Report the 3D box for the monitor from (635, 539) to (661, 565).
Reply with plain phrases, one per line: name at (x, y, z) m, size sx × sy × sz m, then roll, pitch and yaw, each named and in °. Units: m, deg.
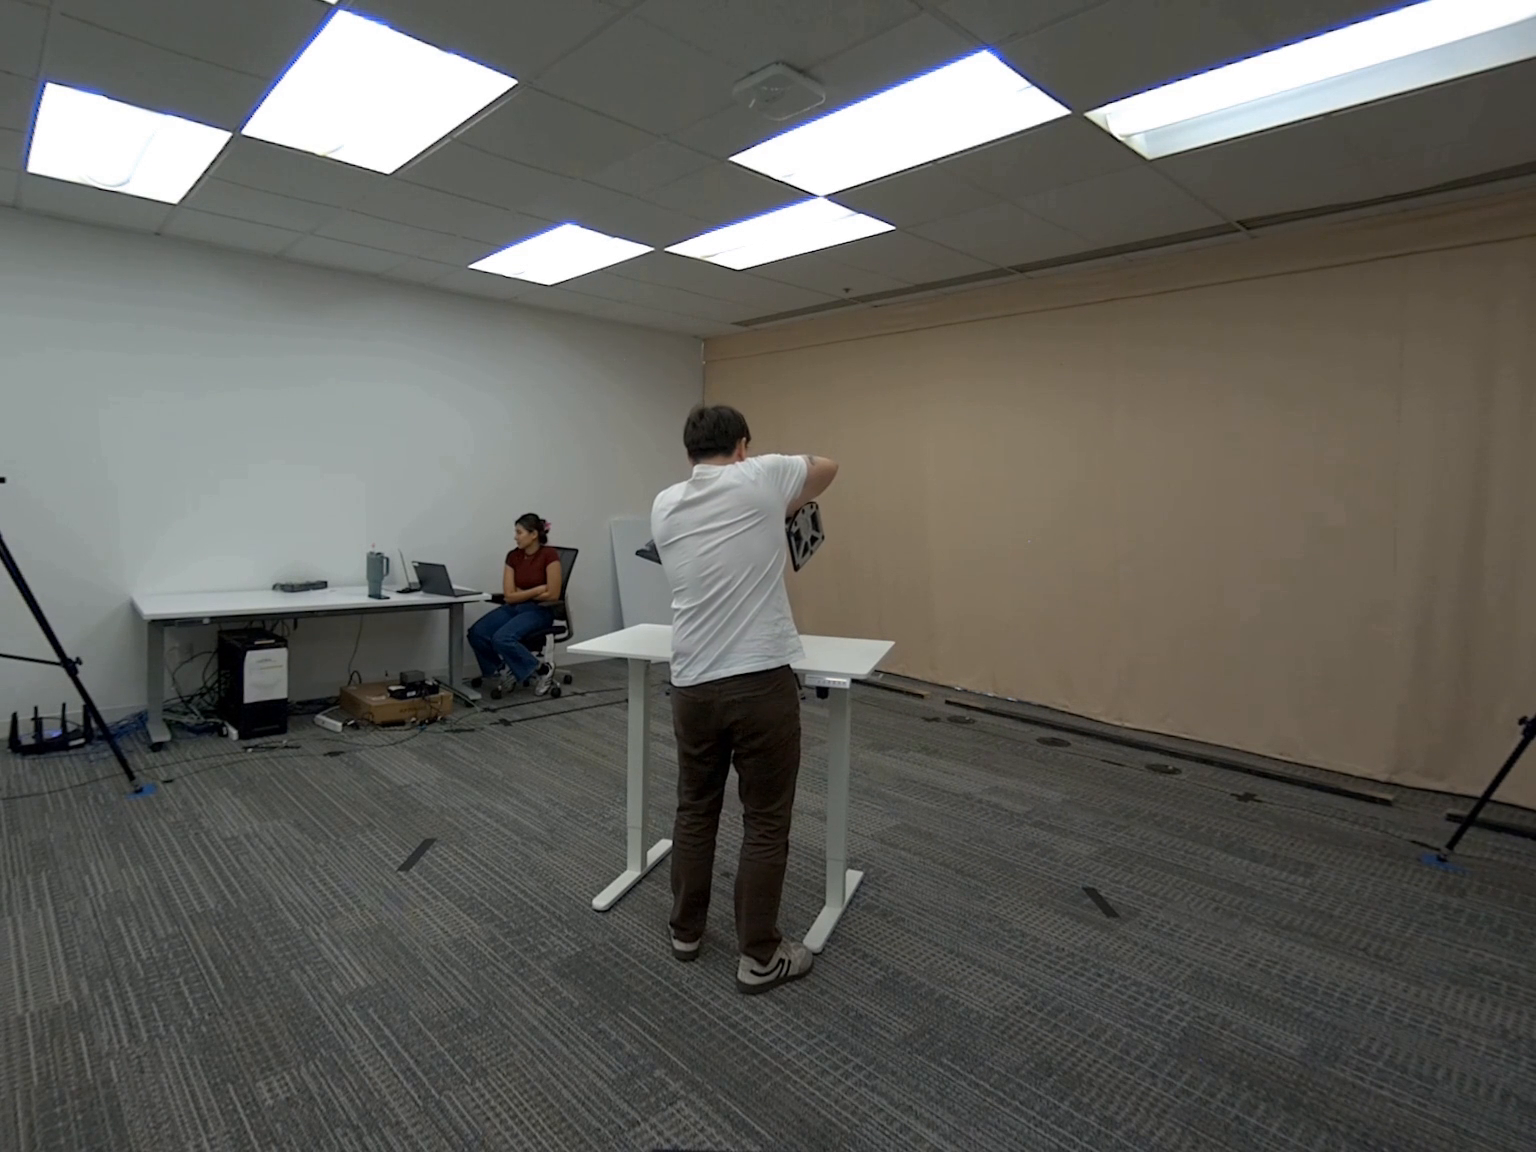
monitor at (-0.101, -0.147, 2.910) m, size 0.532 × 0.184 × 0.537 m, roll 2°, pitch 23°, yaw 25°
